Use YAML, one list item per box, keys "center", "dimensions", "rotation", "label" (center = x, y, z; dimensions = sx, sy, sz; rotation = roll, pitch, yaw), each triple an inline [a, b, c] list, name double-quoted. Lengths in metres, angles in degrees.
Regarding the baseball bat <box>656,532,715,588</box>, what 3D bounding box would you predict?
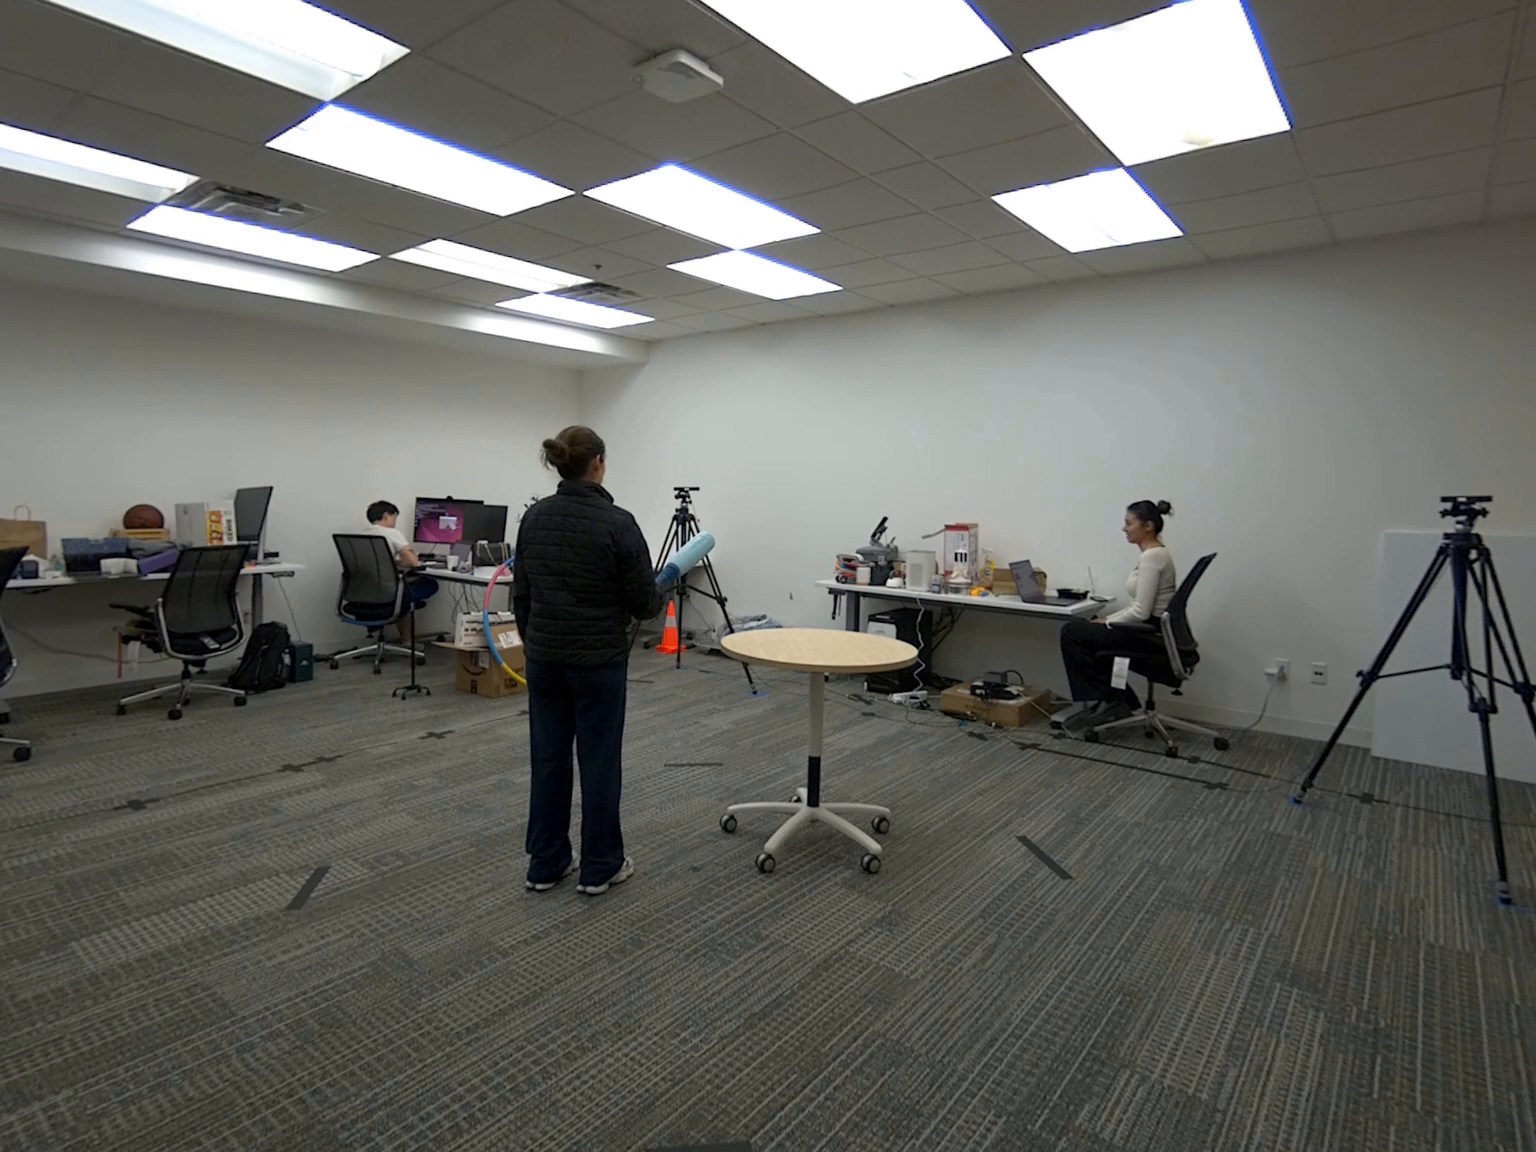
- center: [-0.365, -0.010, 3.311]
  dimensions: [0.092, 0.086, 0.541]
  rotation: [3, 33, 34]
  label: "baseball bat"
